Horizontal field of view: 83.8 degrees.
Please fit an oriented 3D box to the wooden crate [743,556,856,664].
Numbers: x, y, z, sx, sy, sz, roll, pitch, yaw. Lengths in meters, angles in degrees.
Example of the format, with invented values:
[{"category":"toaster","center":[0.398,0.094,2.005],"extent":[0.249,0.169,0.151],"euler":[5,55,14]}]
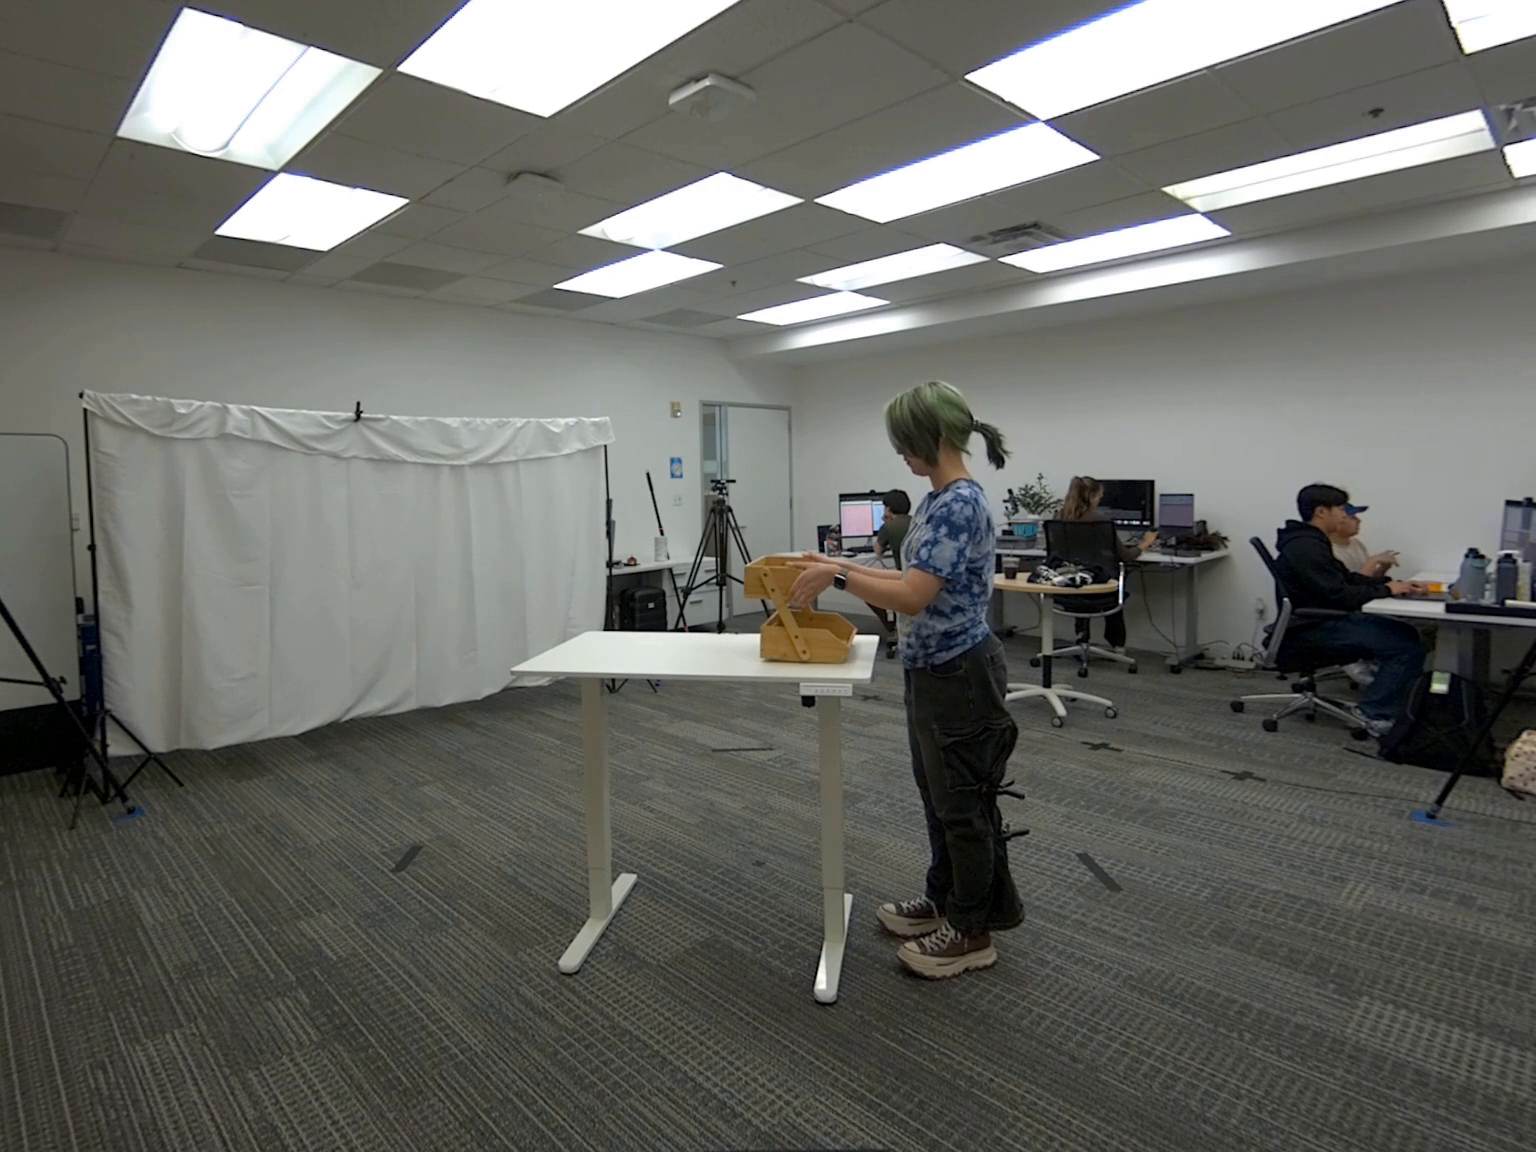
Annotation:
[{"category":"wooden crate","center":[0.125,0.090,2.505],"extent":[0.306,0.272,0.322],"euler":[4,7,11]}]
